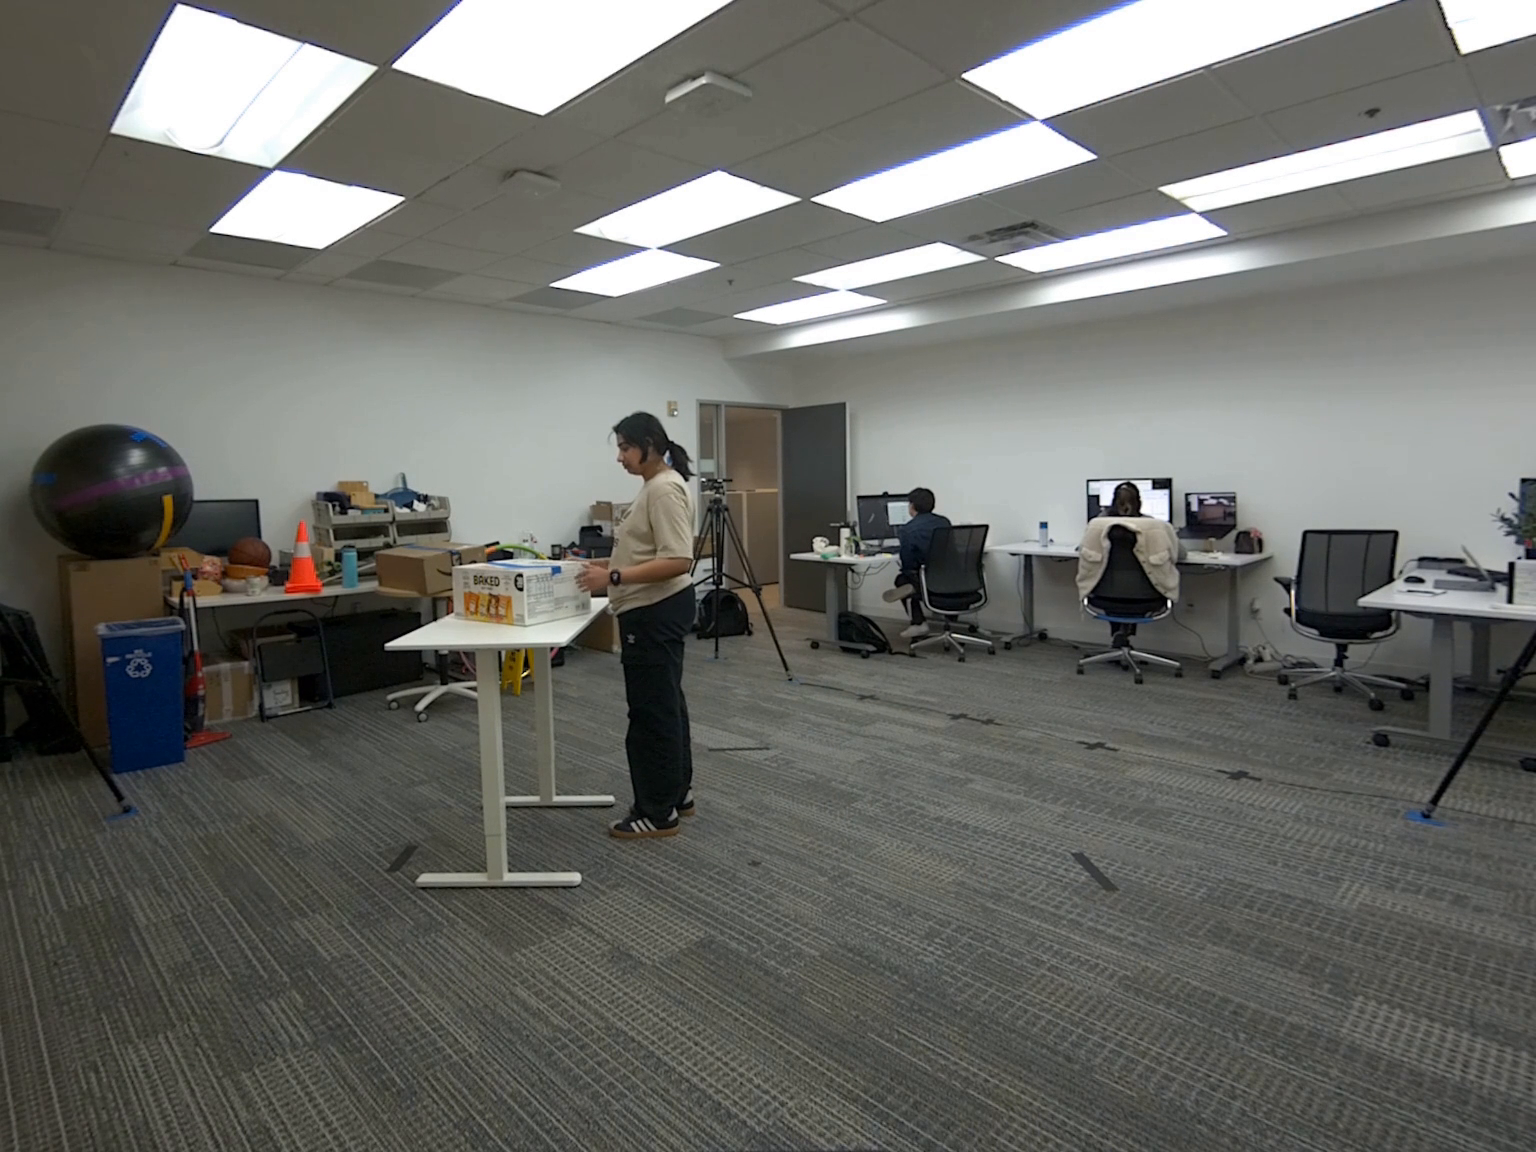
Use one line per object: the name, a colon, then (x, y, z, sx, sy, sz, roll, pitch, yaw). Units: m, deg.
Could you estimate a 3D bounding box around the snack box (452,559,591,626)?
snack box: (-0.953, 0.055, 3.323, 0.416, 0.205, 0.332, 3, 7, 33)
